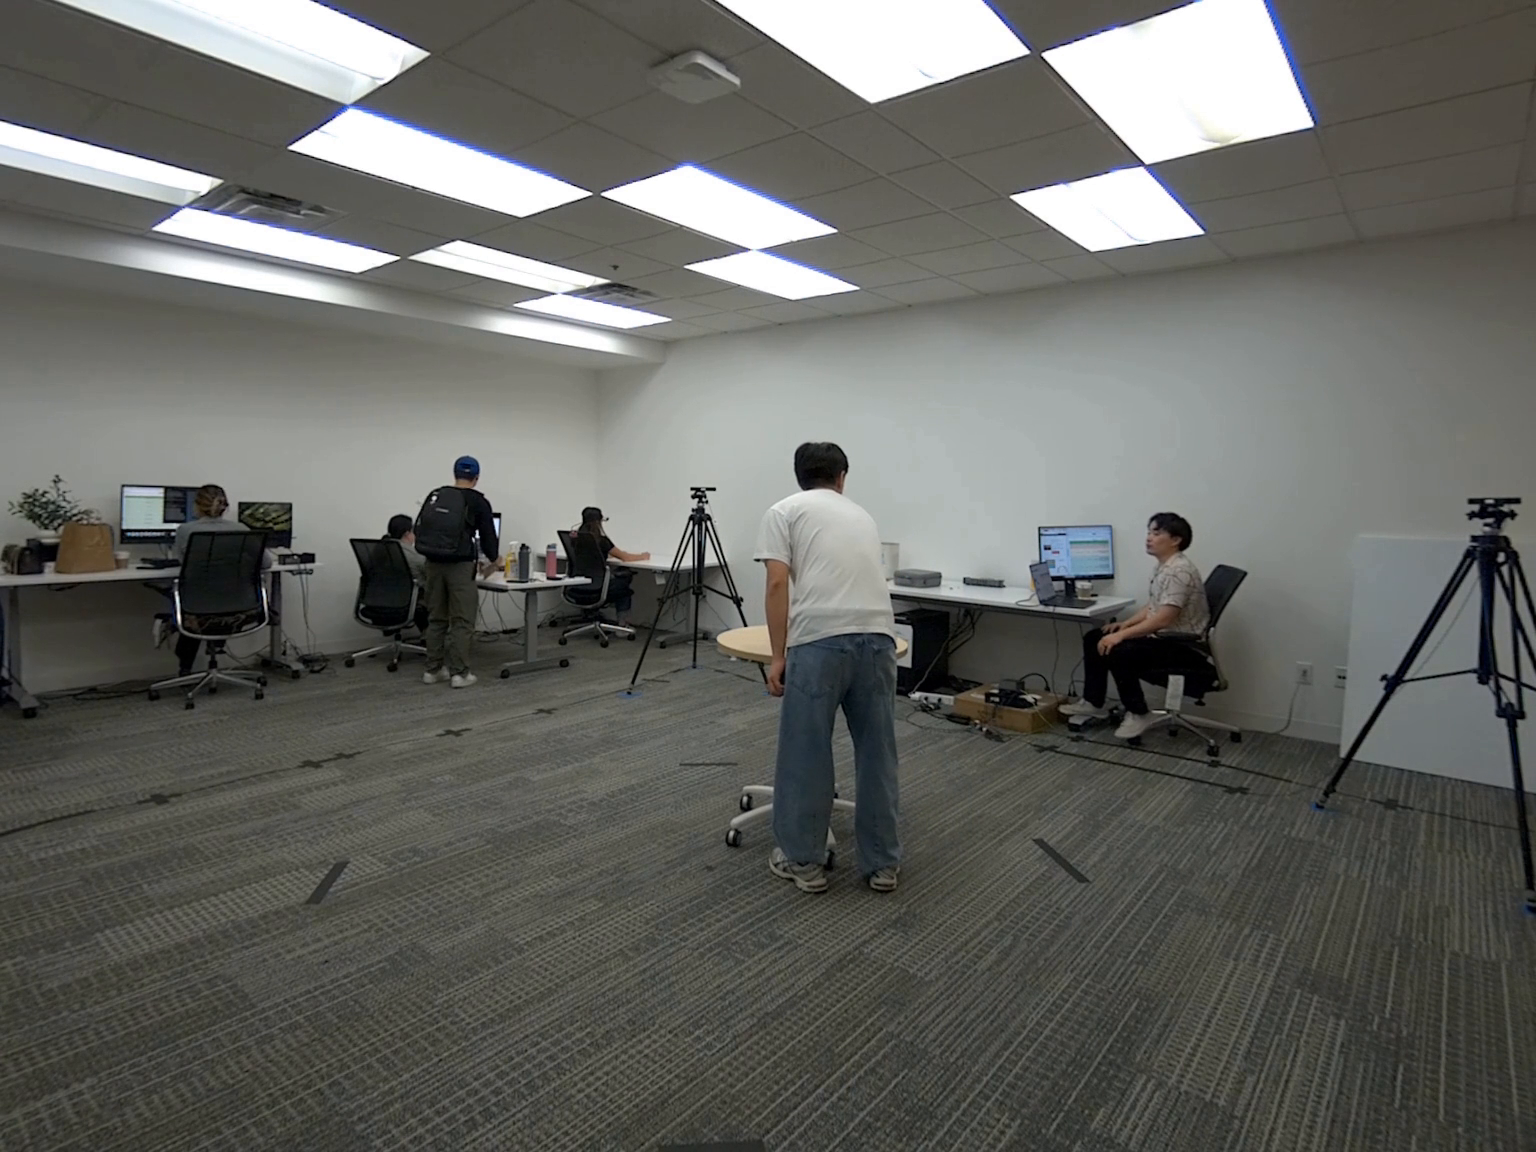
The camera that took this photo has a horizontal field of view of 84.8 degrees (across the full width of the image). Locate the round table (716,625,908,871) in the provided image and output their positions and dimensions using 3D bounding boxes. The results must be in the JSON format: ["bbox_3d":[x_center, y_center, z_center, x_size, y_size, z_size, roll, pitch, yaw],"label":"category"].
[{"bbox_3d":[0.147,0.646,3.466,0.763,0.791,0.768,1,4,-2],"label":"round table"}]
